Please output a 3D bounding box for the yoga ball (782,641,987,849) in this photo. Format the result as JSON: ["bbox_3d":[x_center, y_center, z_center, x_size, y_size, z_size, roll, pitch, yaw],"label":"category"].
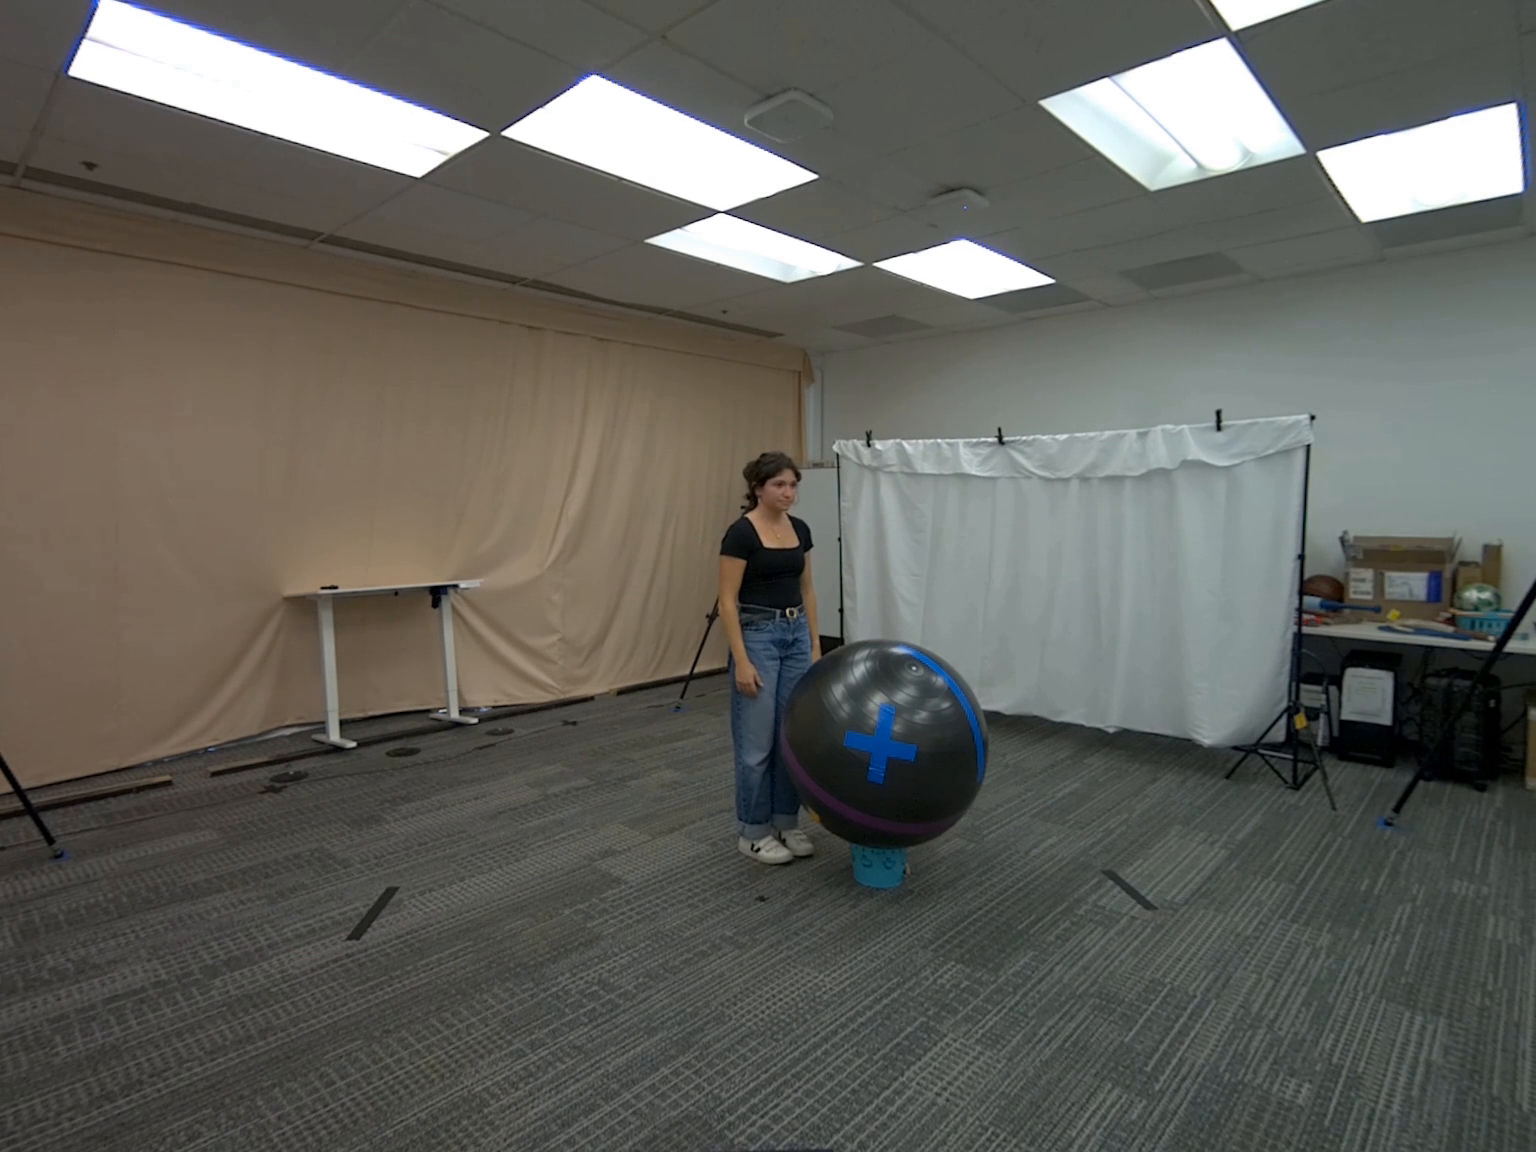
[{"bbox_3d":[0.445,0.620,3.130,0.757,0.756,0.760,0,4,-2],"label":"yoga ball"}]
